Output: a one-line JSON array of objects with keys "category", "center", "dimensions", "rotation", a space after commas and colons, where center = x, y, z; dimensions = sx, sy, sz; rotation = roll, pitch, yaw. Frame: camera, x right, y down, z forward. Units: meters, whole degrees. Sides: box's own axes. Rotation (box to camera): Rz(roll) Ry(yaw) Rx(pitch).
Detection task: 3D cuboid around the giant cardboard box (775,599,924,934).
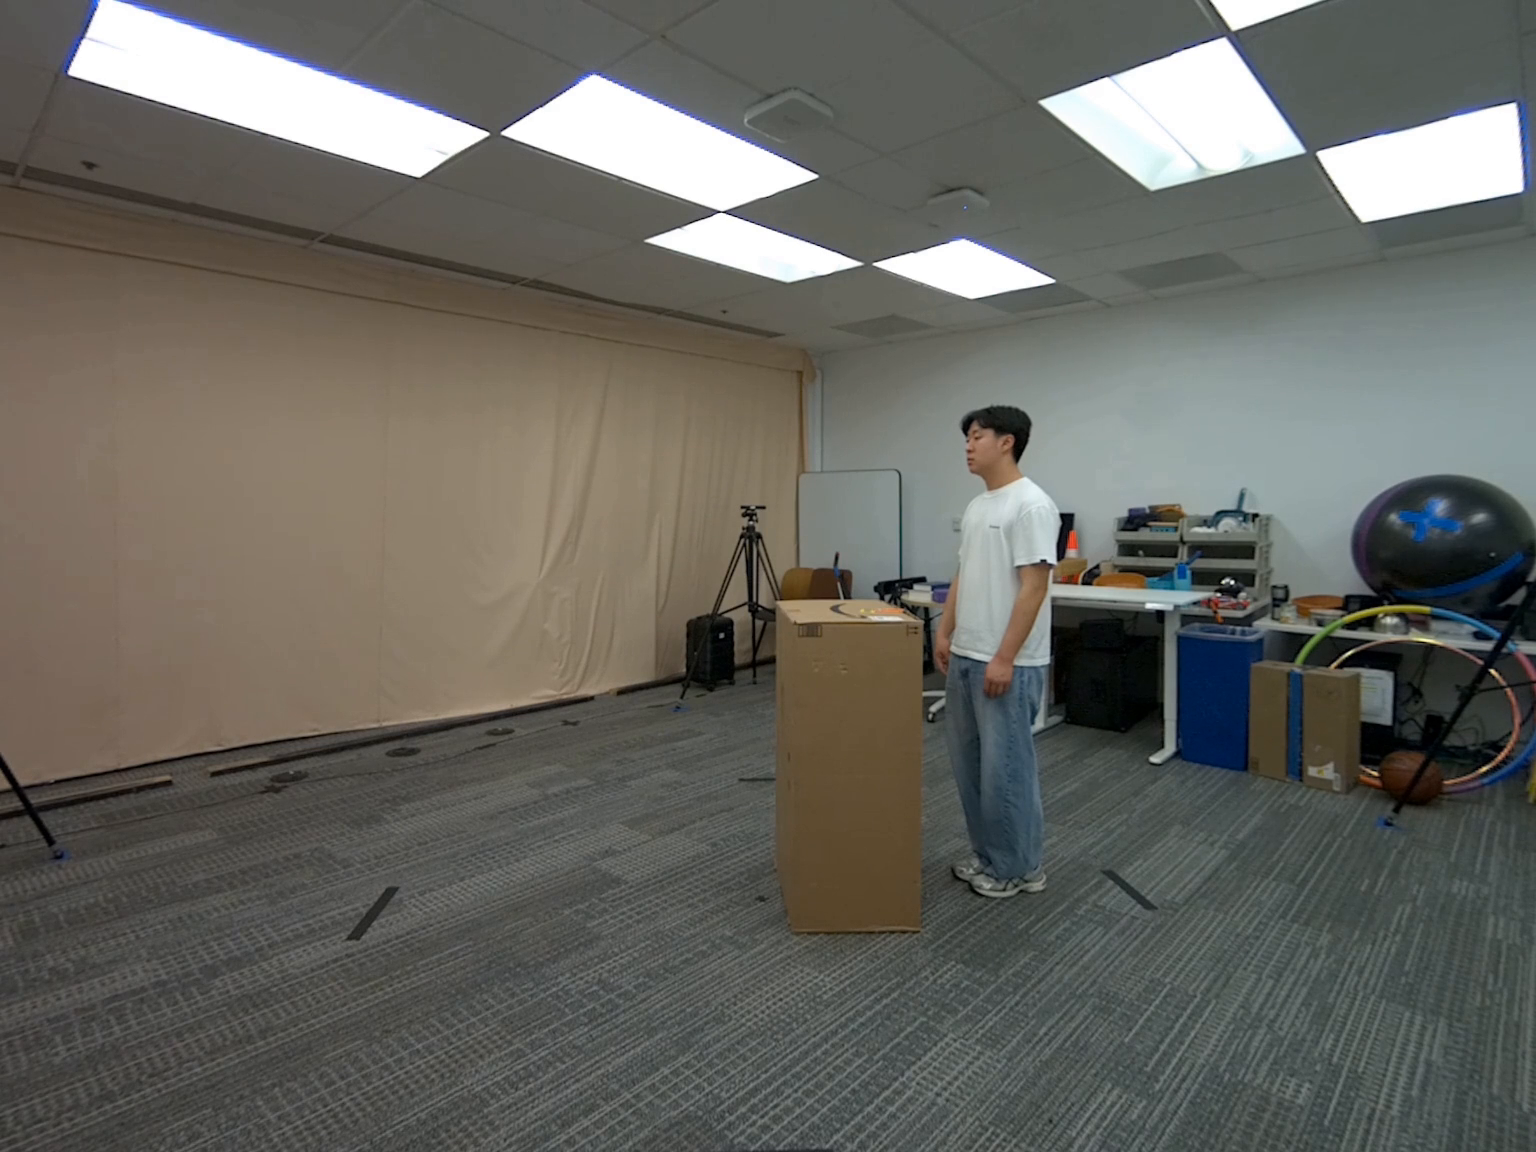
[{"category": "giant cardboard box", "center": [0.271, 0.635, 2.997], "dimensions": [0.425, 1.024, 0.581], "rotation": [0, 3, -4]}]
